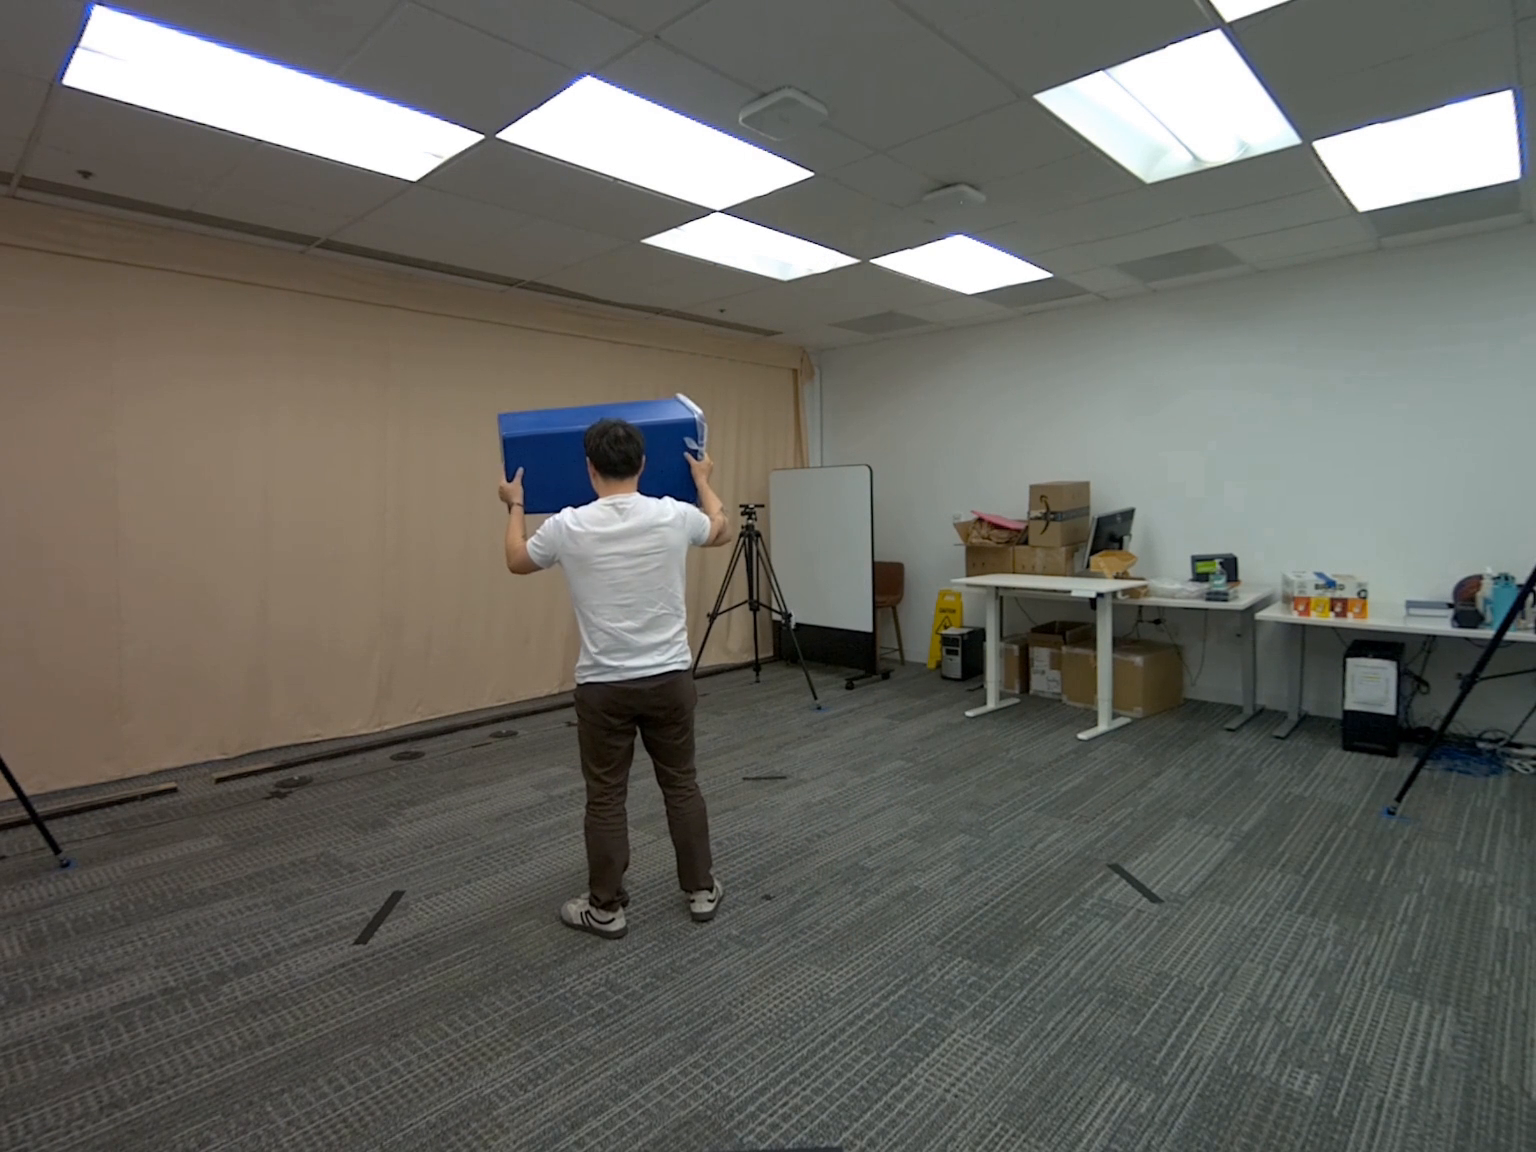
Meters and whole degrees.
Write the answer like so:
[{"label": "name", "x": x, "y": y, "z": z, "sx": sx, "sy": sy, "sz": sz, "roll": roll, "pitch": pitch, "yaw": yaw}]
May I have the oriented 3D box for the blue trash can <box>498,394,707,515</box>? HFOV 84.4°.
[{"label": "blue trash can", "x": -0.621, "y": -0.439, "z": 3.157, "sx": 0.703, "sy": 0.369, "sz": 0.389, "roll": -7, "pitch": 26, "yaw": -15}]
